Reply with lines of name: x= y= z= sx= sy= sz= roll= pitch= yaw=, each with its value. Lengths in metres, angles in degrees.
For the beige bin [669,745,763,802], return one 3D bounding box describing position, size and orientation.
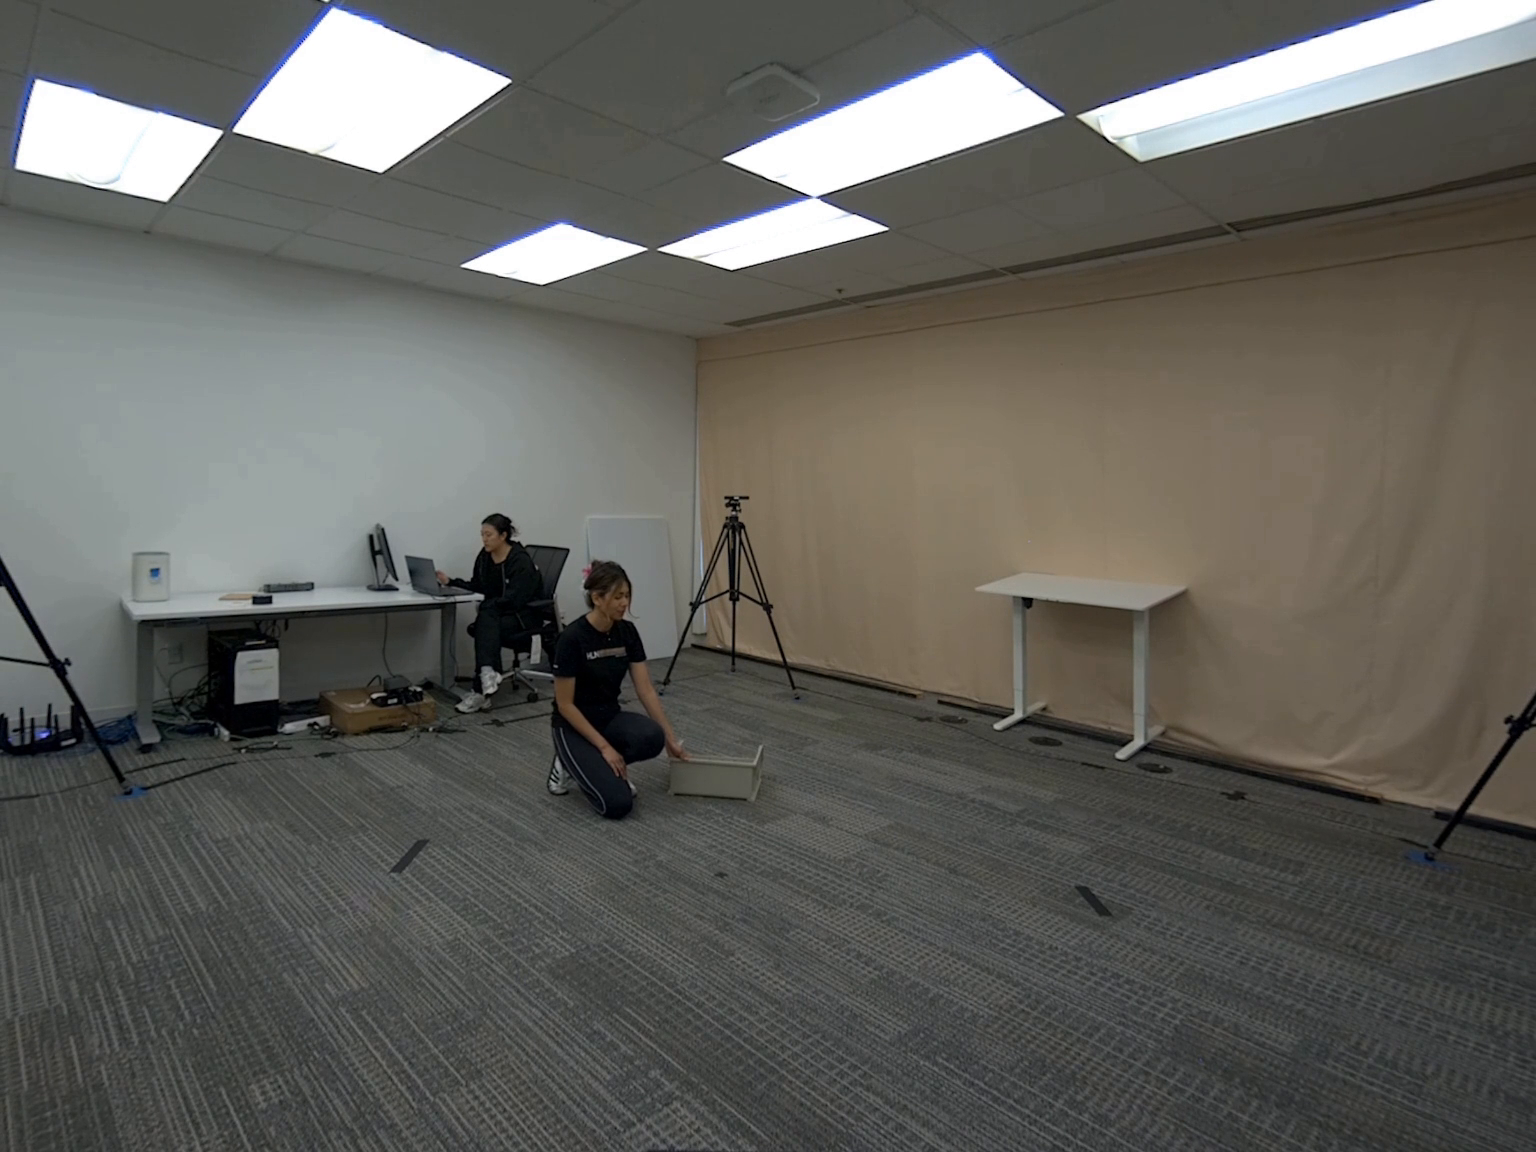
beige bin: x=-0.259 y=0.929 z=4.087 sx=0.425 sy=0.188 sz=0.376 roll=2 pitch=6 yaw=6
